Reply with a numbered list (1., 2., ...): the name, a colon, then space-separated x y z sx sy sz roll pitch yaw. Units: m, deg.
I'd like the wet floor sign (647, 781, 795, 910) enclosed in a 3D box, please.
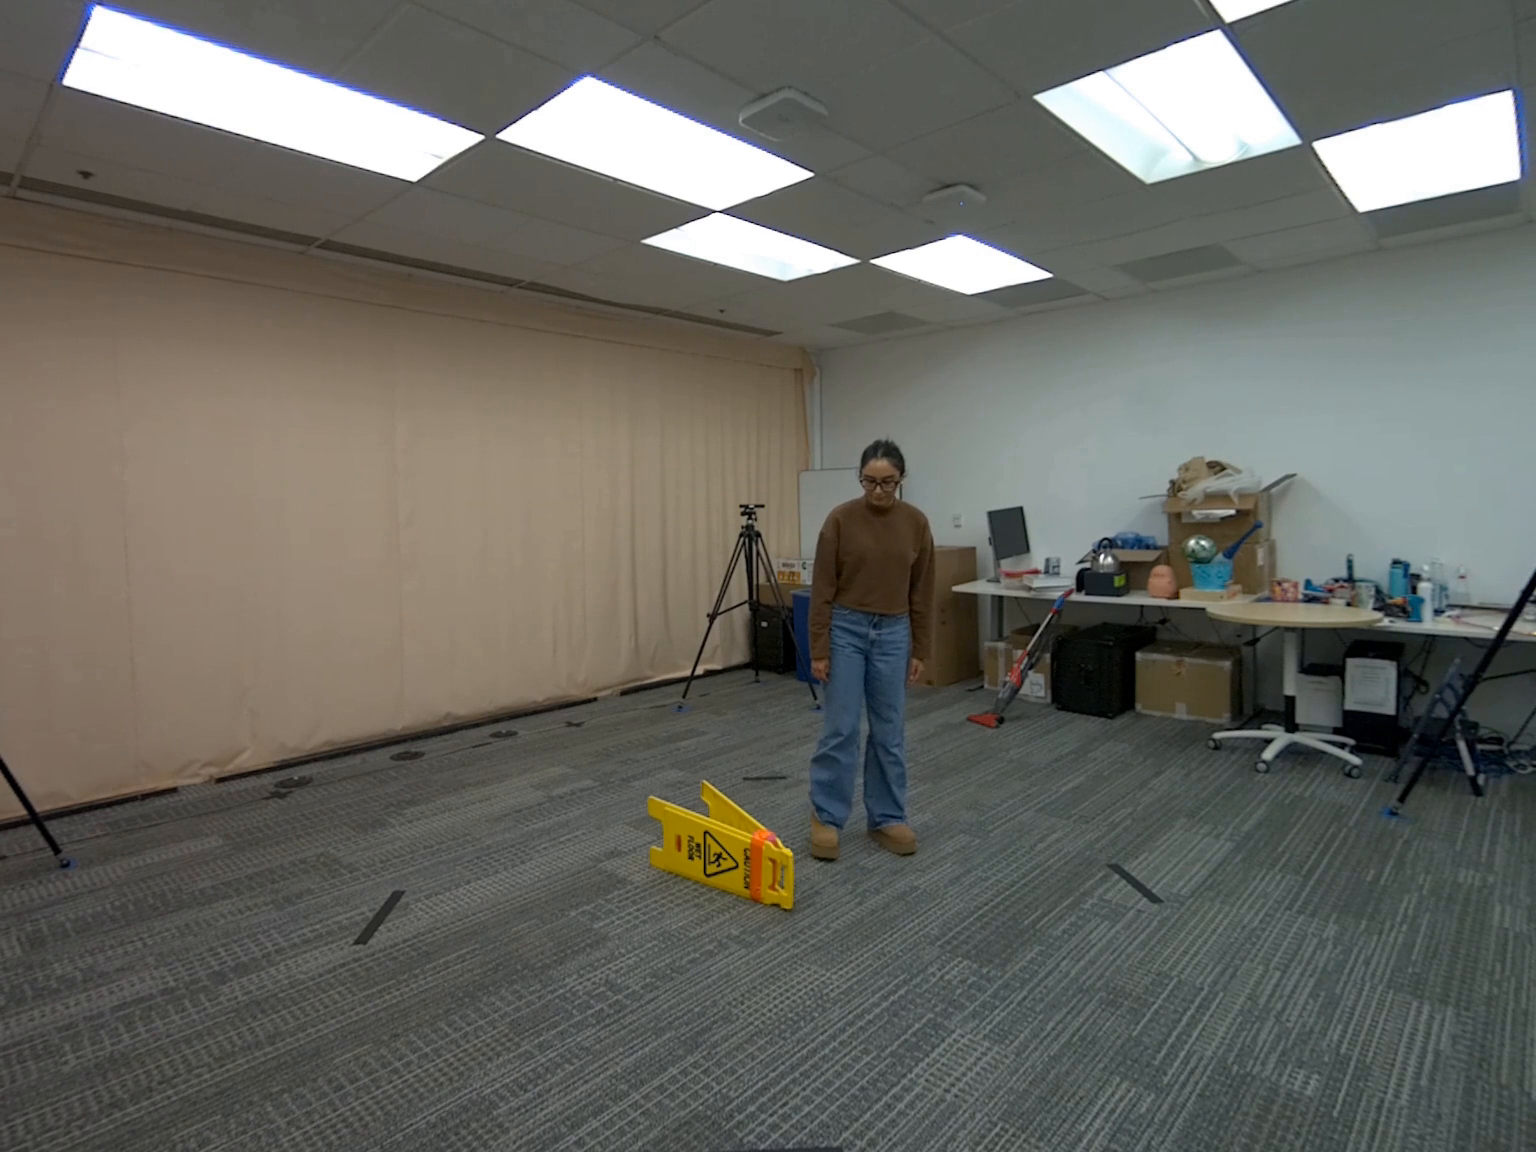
1. wet floor sign: -0.136 1.006 3.105 0.281 0.281 0.668 -5 9 -43
